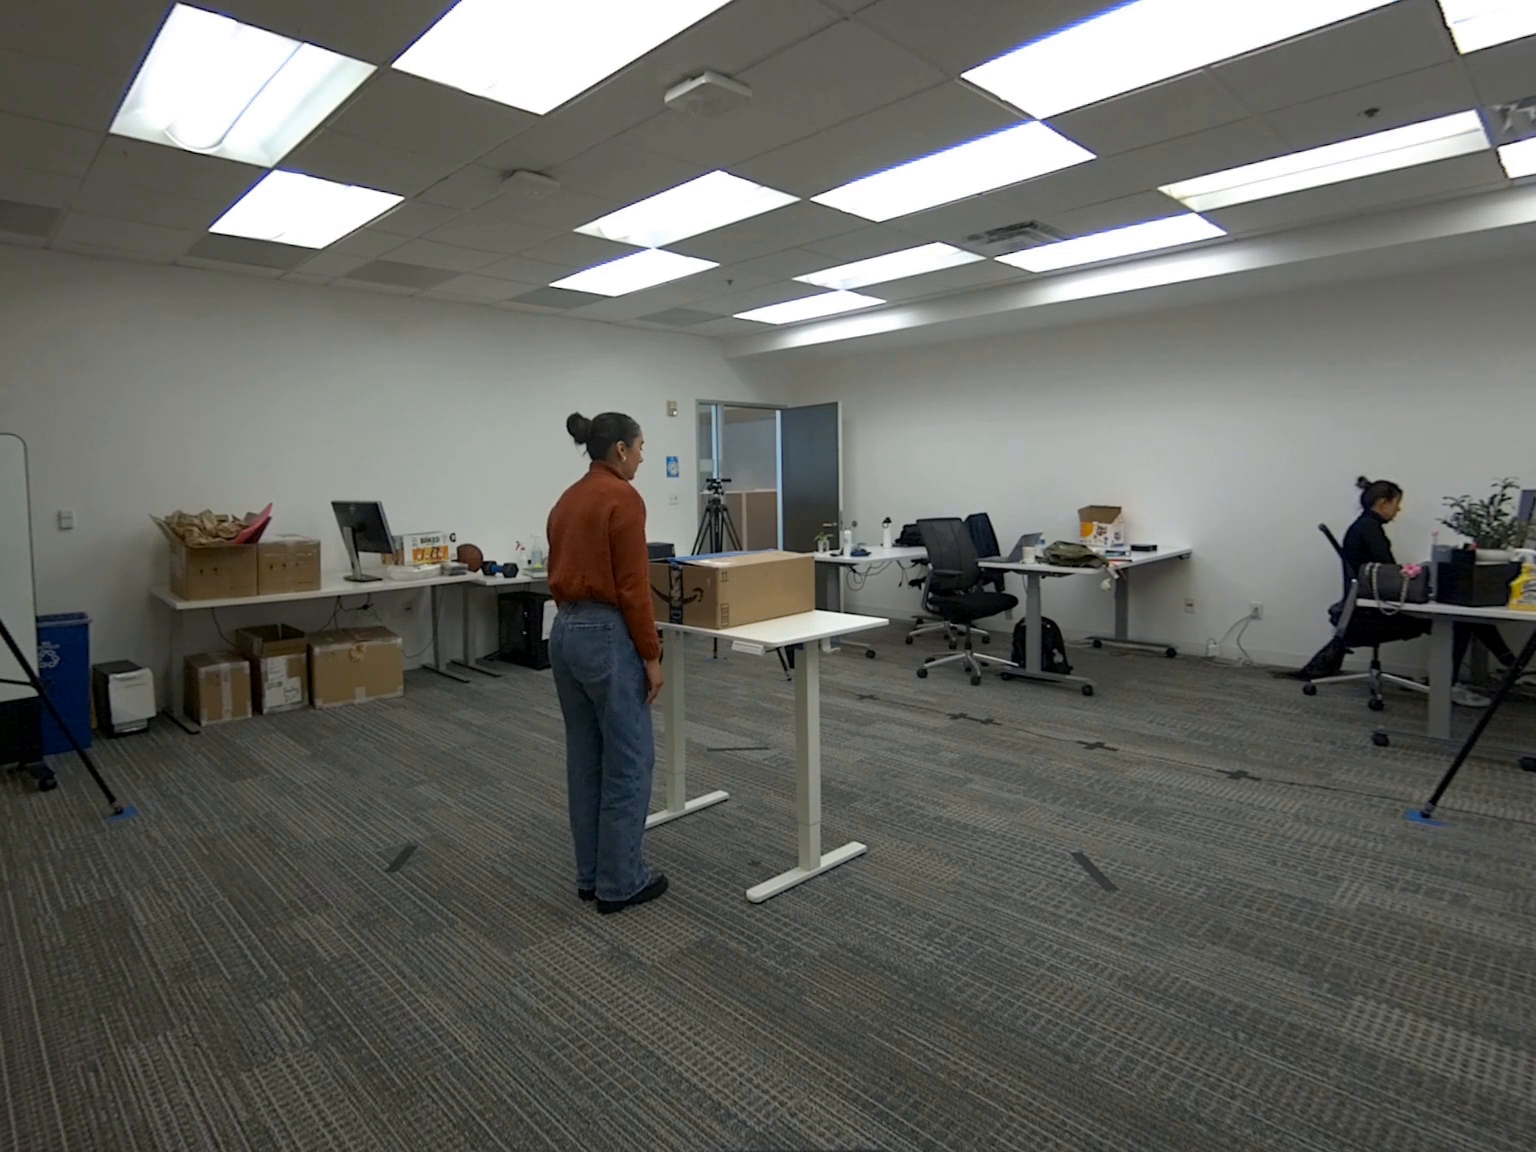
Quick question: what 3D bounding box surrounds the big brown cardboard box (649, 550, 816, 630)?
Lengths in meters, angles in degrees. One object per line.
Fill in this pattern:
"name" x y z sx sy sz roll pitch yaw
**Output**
"big brown cardboard box" -0.156 0.038 3.248 0.430 0.232 0.573 3 6 40
